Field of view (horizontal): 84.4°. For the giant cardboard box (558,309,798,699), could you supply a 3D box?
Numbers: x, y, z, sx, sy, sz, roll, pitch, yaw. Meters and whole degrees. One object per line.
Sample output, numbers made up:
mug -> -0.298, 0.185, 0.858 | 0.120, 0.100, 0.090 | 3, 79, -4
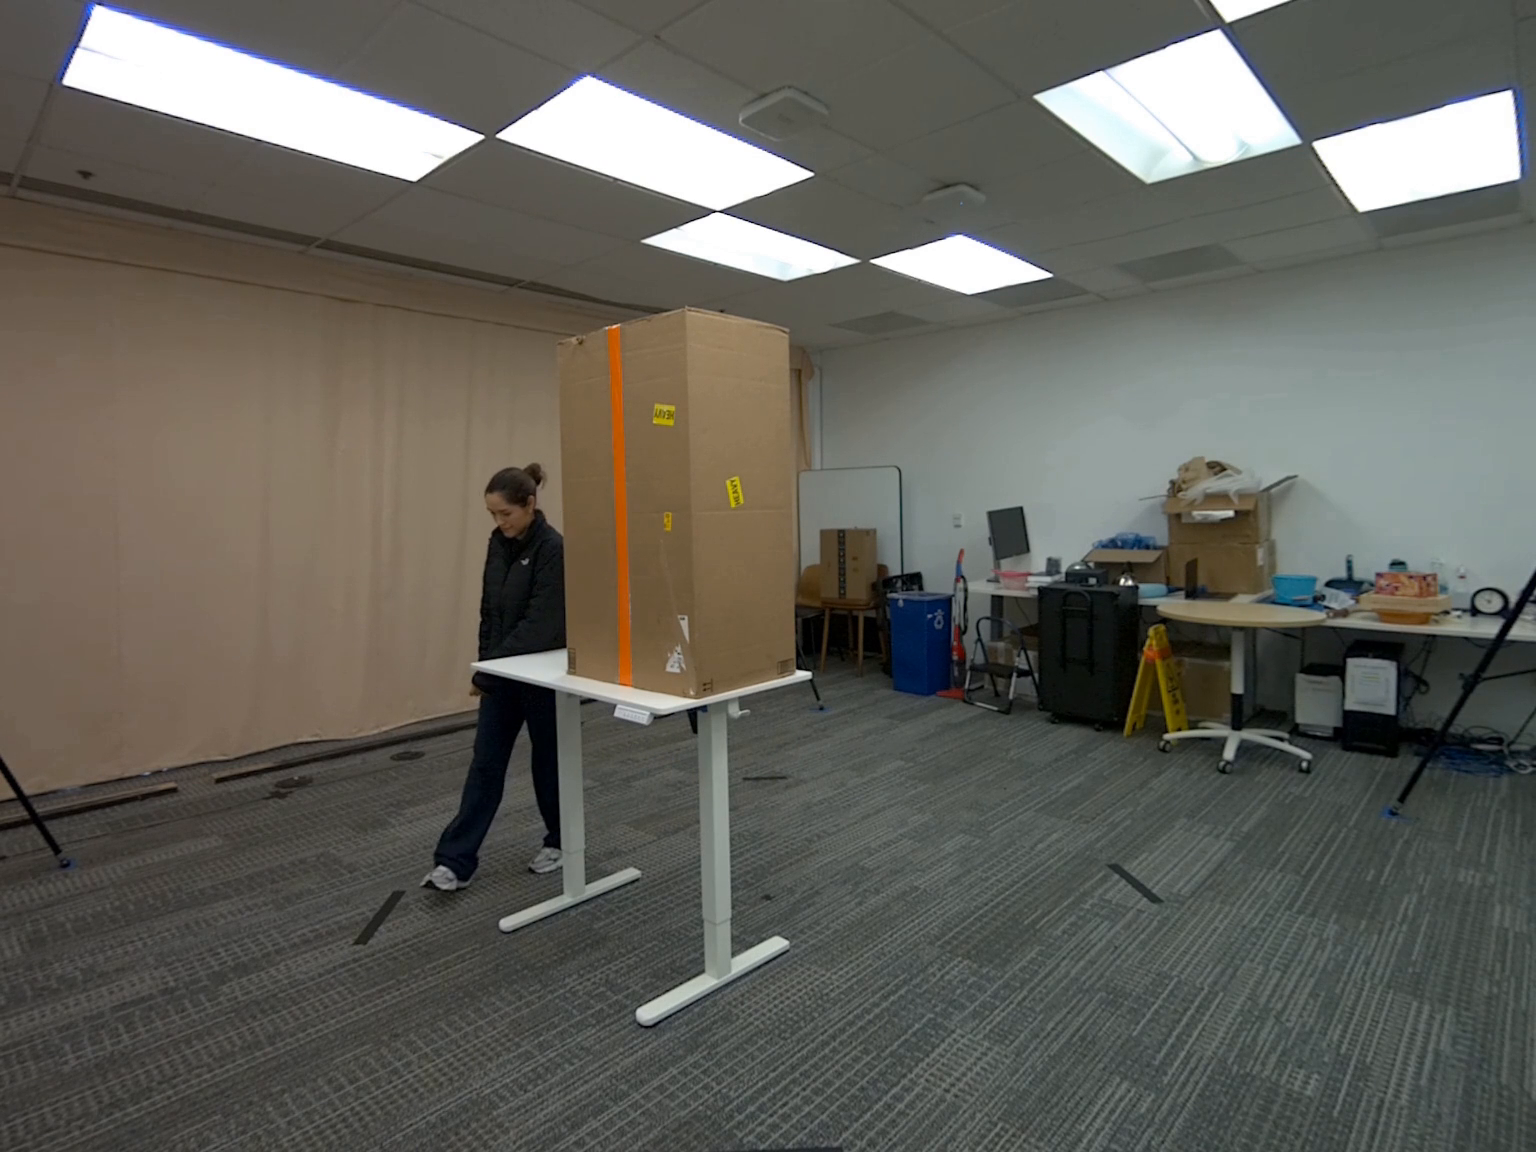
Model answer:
giant cardboard box -> -0.266, -0.206, 2.533 | 0.596, 1.024, 0.413 | 2, 4, 42
